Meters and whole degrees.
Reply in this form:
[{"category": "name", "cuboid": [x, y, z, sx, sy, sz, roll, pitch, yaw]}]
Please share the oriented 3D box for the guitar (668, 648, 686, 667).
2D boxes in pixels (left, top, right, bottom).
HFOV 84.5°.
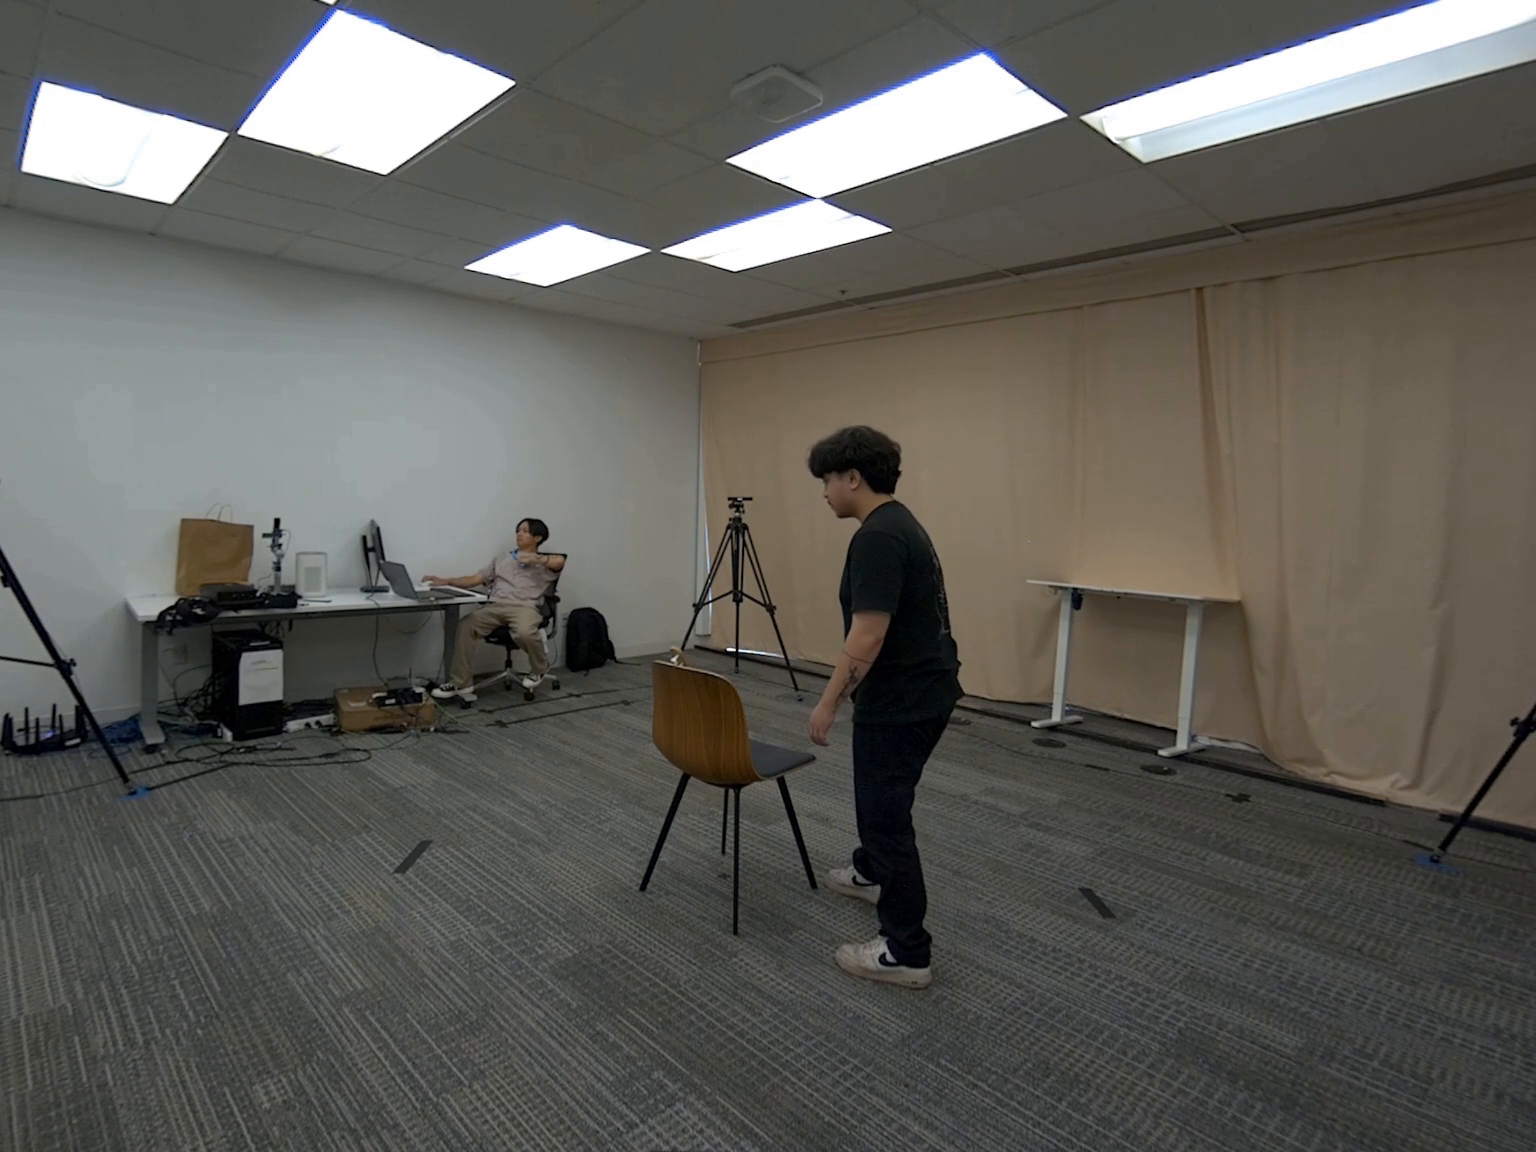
[{"category": "guitar", "cuboid": [-0.248, 0.439, 2.886, 0.198, 0.486, 0.070, 2, 39, 48]}]
